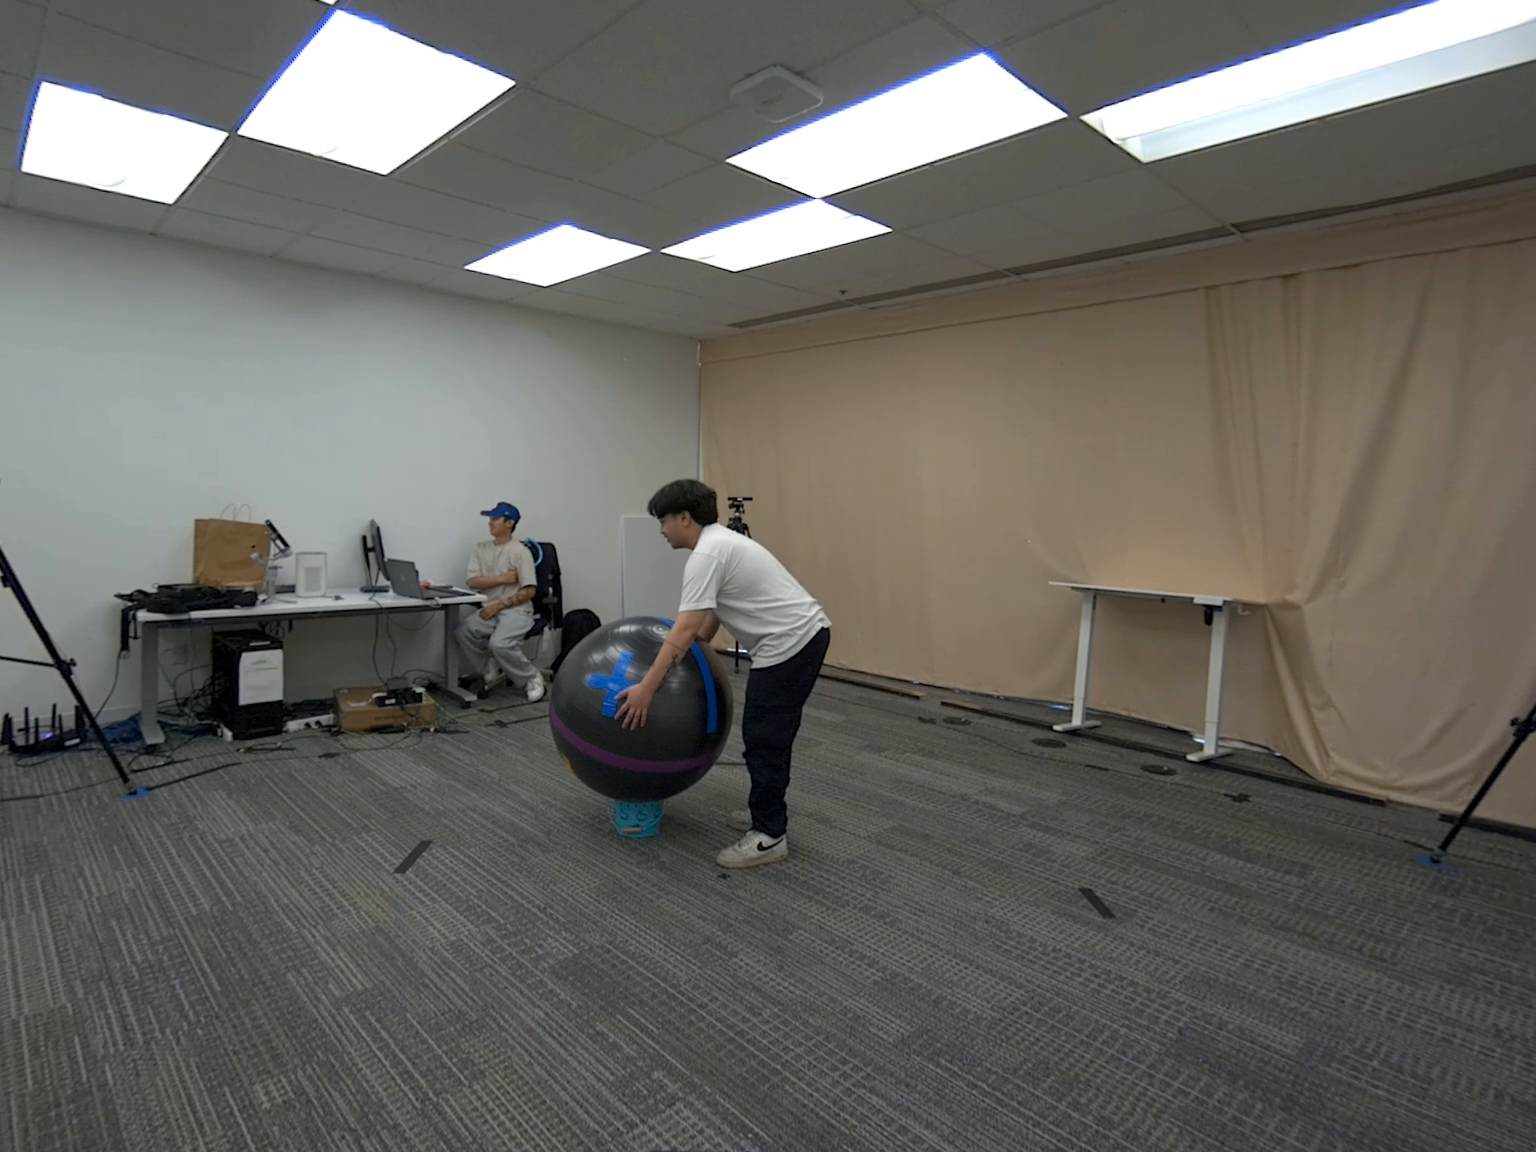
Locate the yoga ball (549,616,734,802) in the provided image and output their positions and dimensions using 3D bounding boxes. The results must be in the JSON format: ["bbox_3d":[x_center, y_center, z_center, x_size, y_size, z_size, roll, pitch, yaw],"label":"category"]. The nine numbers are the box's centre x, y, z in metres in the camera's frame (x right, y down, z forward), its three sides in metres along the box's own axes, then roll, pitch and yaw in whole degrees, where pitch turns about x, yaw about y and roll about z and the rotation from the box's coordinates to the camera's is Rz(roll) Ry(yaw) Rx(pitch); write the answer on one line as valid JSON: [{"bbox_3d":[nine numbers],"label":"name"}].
[{"bbox_3d":[-0.527,0.548,3.516,0.757,0.756,0.761,1,4,-1],"label":"yoga ball"}]
